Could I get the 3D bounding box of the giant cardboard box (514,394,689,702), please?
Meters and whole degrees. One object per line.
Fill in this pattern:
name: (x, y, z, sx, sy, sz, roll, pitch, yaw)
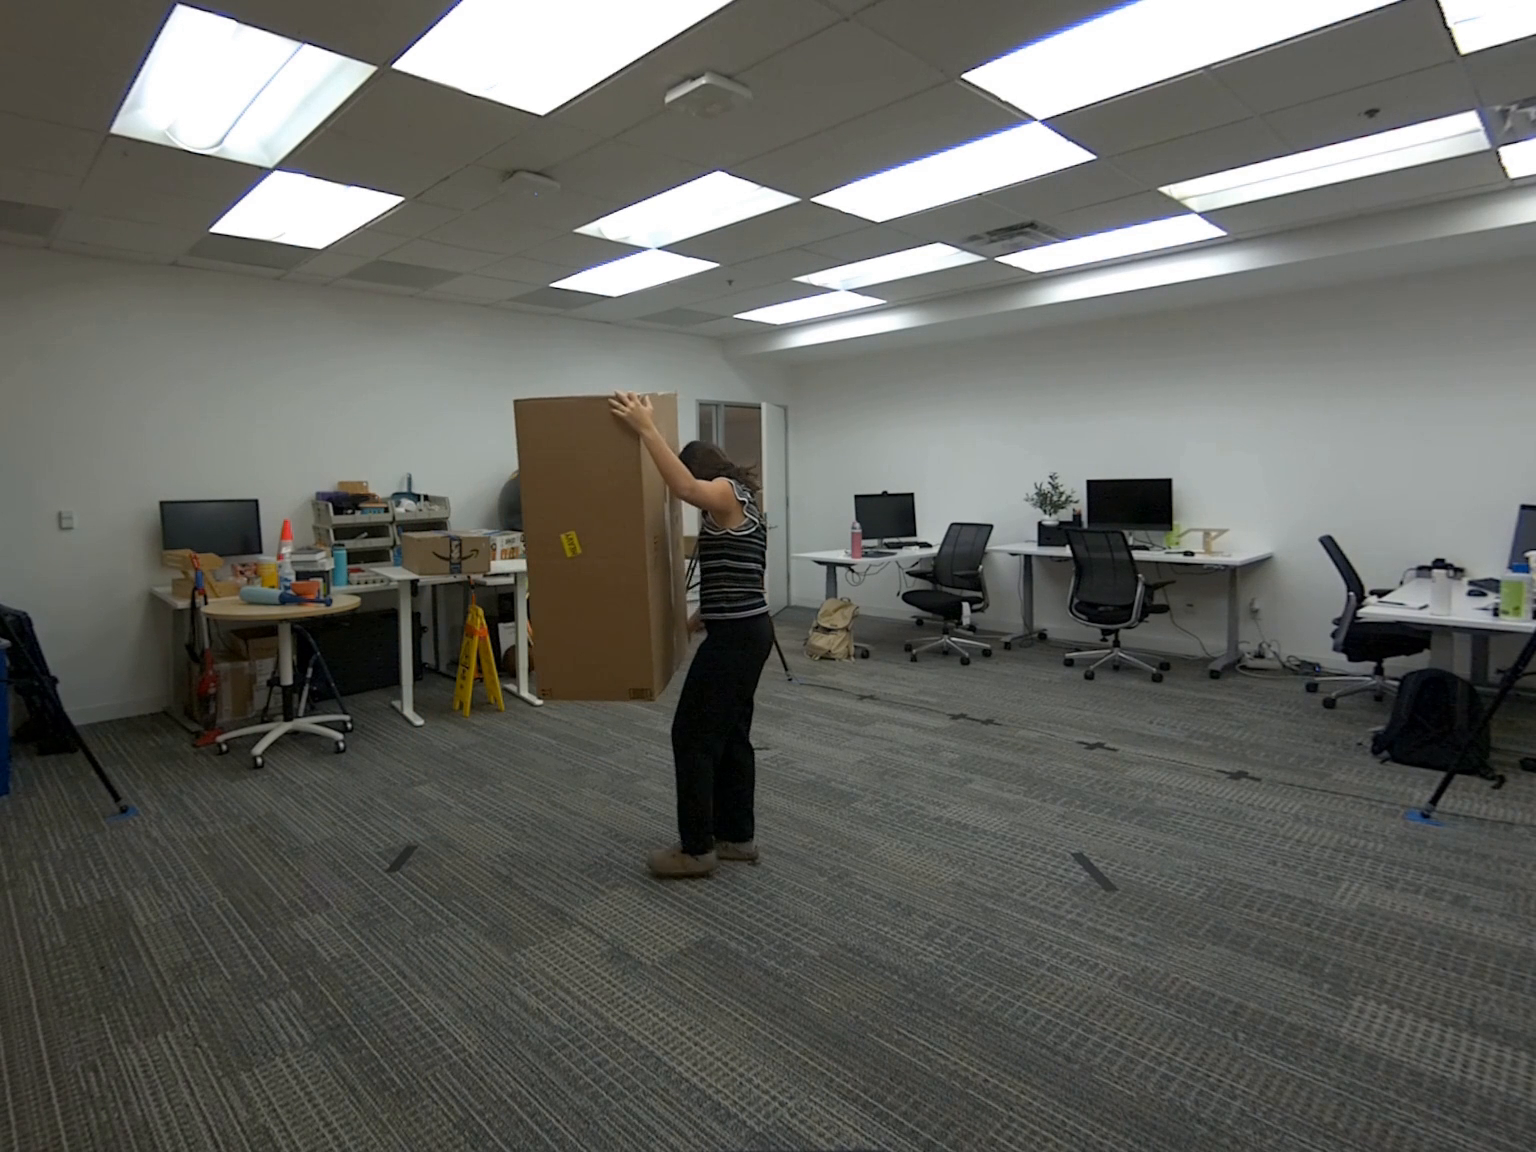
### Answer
giant cardboard box: (-0.578, -0.135, 3.084, 0.430, 1.016, 0.578, -1, 11, 8)
